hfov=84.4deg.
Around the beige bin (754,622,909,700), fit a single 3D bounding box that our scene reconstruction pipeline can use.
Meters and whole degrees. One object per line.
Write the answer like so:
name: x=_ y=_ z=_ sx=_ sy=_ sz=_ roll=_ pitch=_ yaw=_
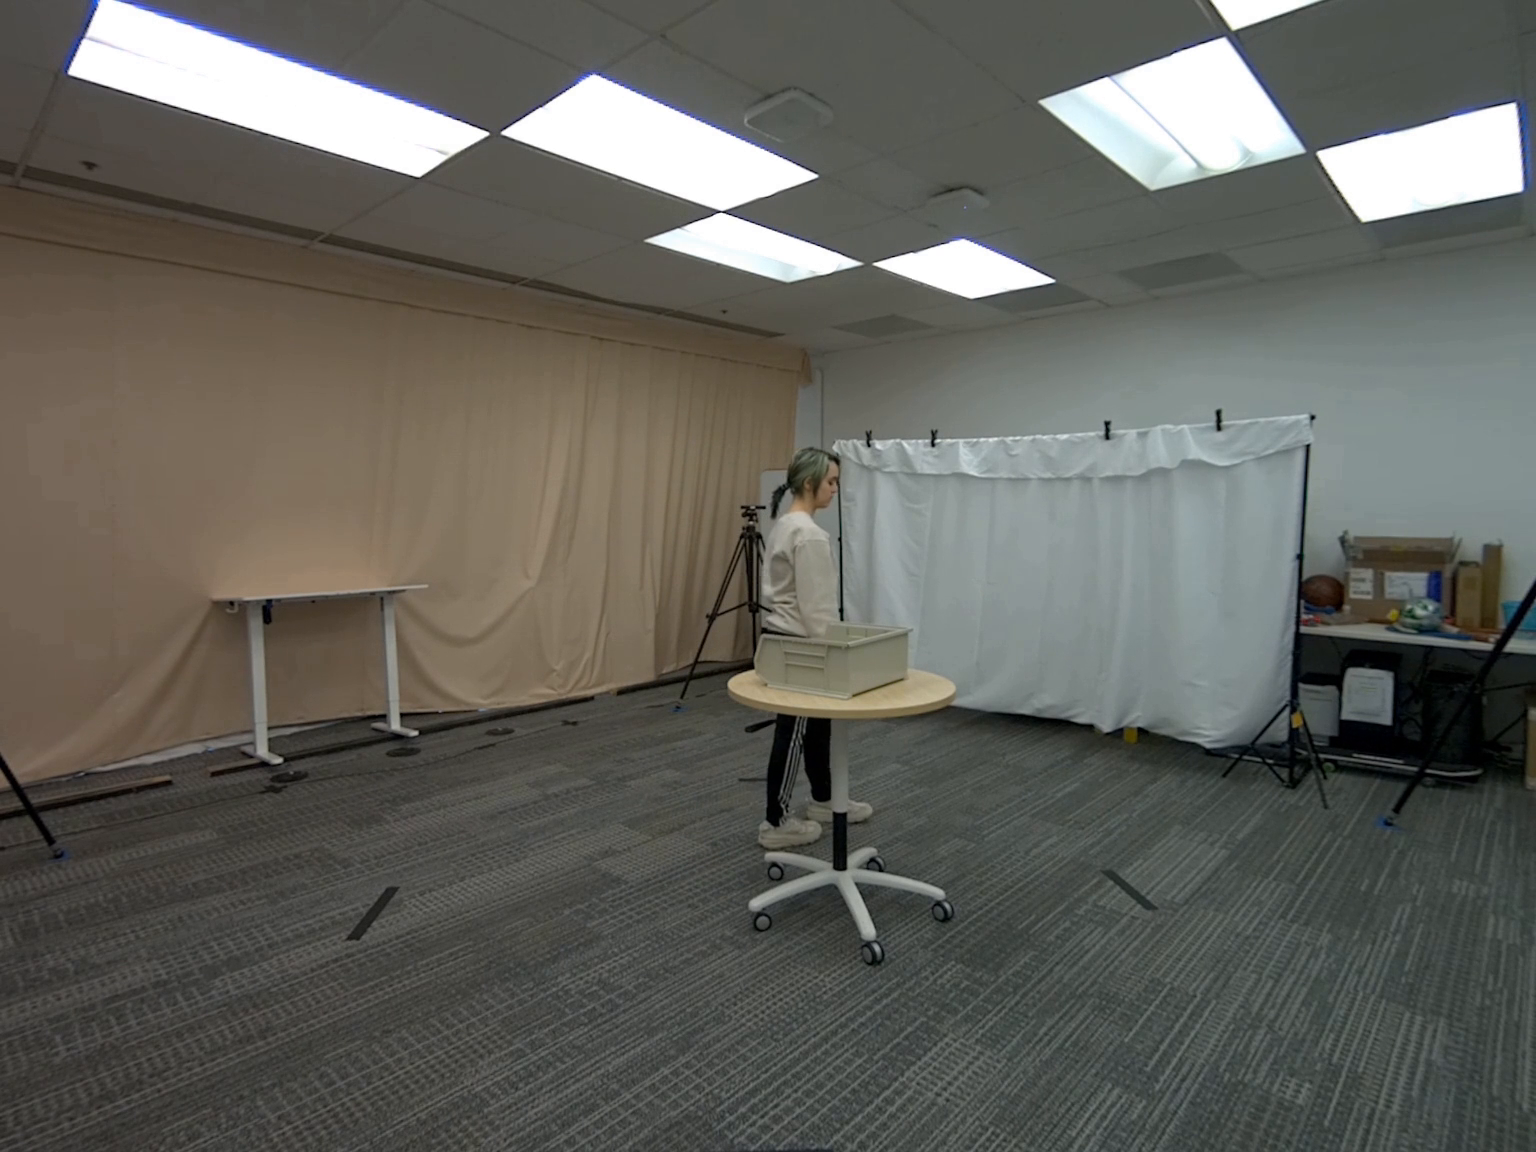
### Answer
beige bin: x=0.227 y=0.275 z=2.887 sx=0.390 sy=0.188 sz=0.410 roll=4 pitch=6 yaw=38
